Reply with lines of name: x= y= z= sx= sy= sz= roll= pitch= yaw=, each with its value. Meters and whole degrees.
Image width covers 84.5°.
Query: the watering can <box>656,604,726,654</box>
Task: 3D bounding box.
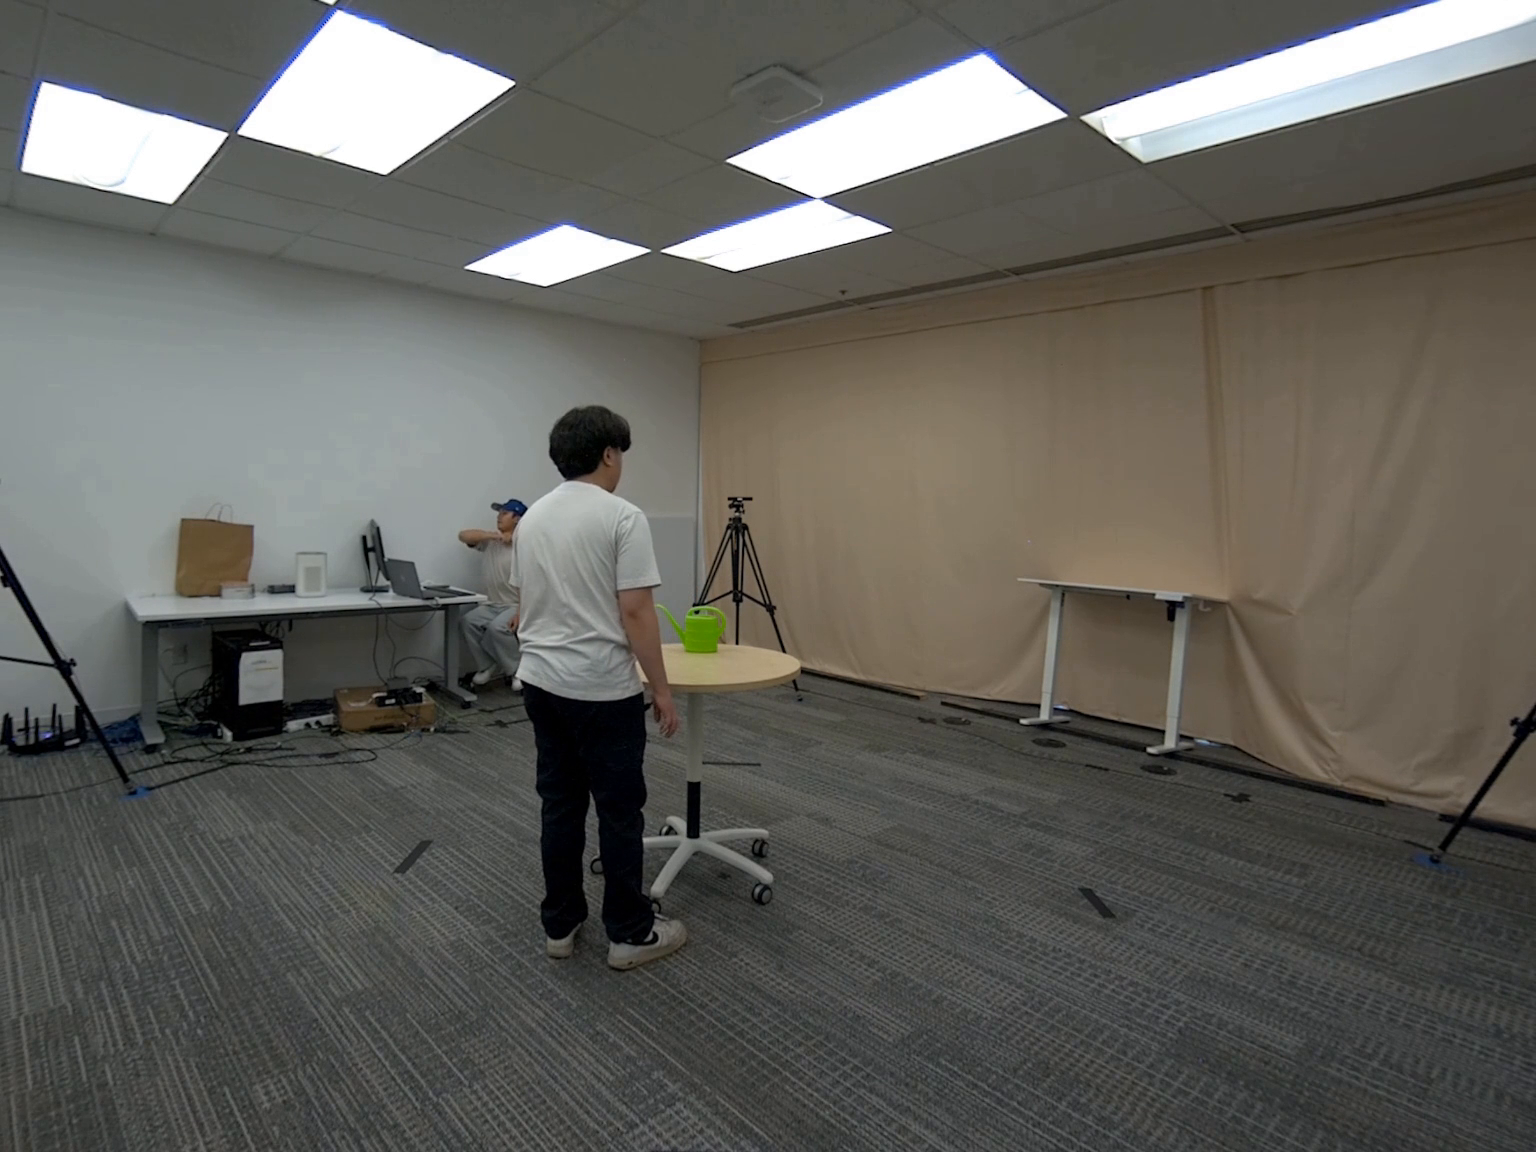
watering can: x=-0.317 y=0.207 z=3.296 sx=0.283 sy=0.176 sz=0.096 roll=4 pitch=7 yaw=23
